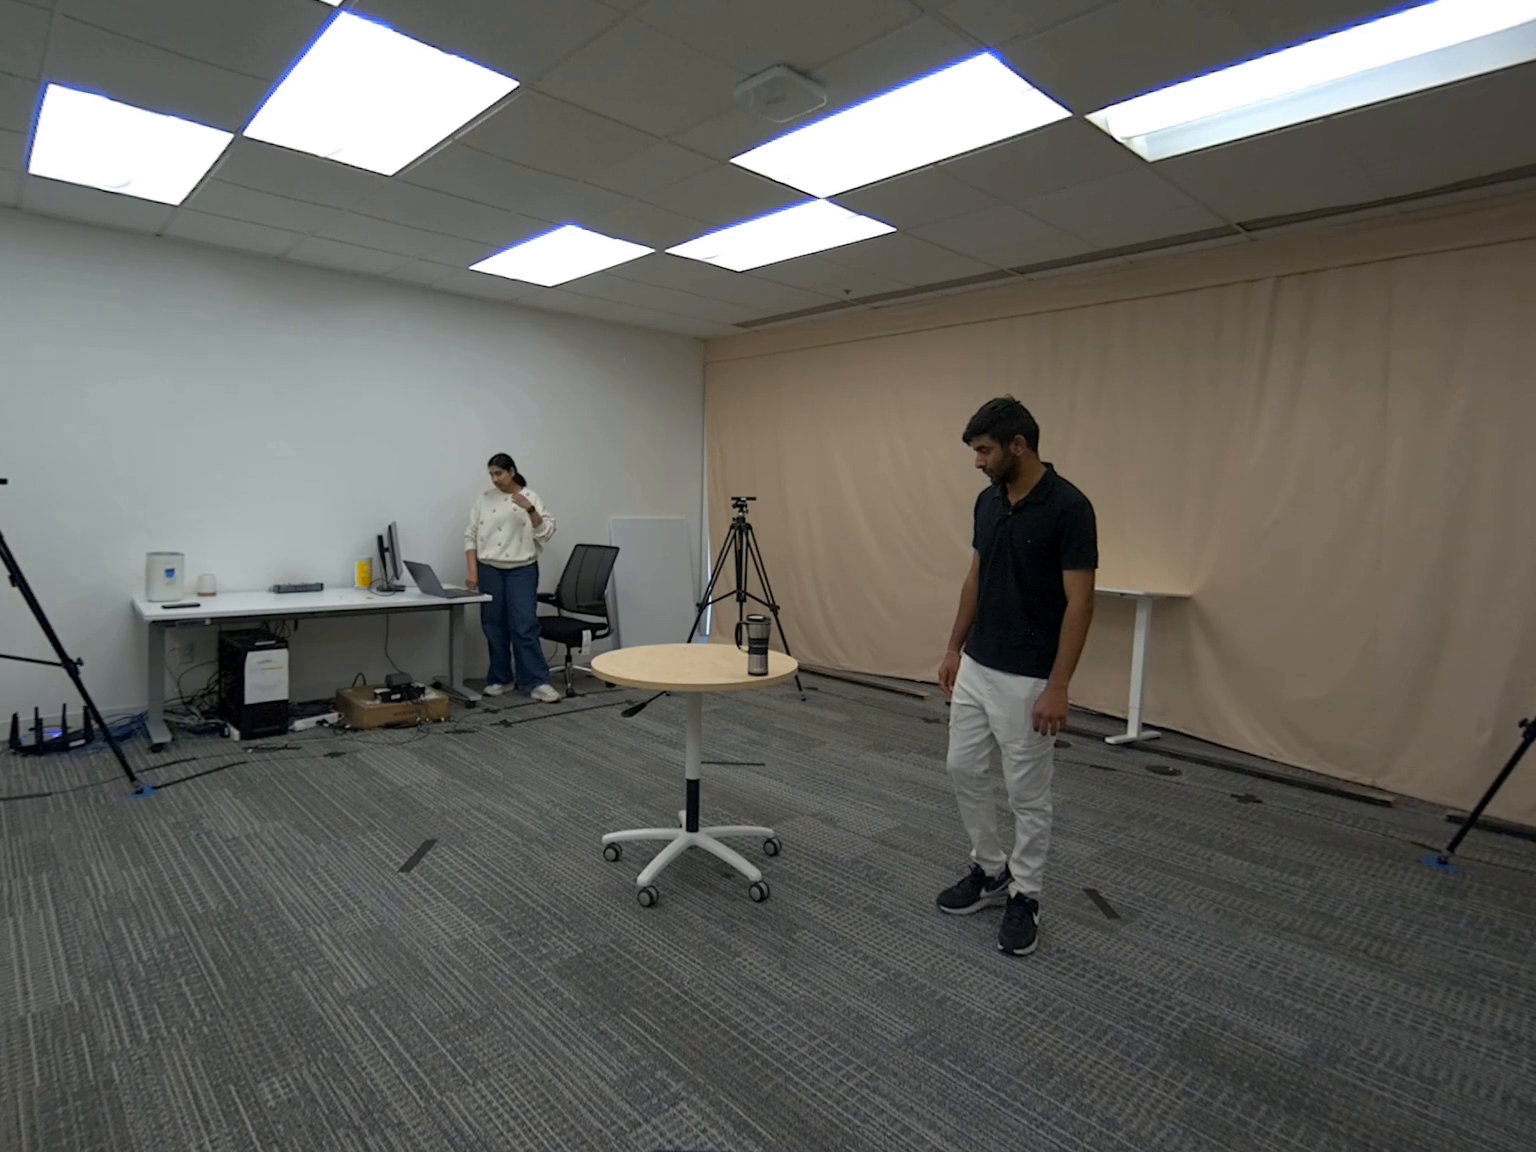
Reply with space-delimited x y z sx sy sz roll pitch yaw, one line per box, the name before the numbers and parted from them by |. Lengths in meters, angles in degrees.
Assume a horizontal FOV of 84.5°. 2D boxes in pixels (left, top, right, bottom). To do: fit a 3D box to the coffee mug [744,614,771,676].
coffee mug | -0.053 0.244 2.909 0.123 0.202 0.087 5 7 11
